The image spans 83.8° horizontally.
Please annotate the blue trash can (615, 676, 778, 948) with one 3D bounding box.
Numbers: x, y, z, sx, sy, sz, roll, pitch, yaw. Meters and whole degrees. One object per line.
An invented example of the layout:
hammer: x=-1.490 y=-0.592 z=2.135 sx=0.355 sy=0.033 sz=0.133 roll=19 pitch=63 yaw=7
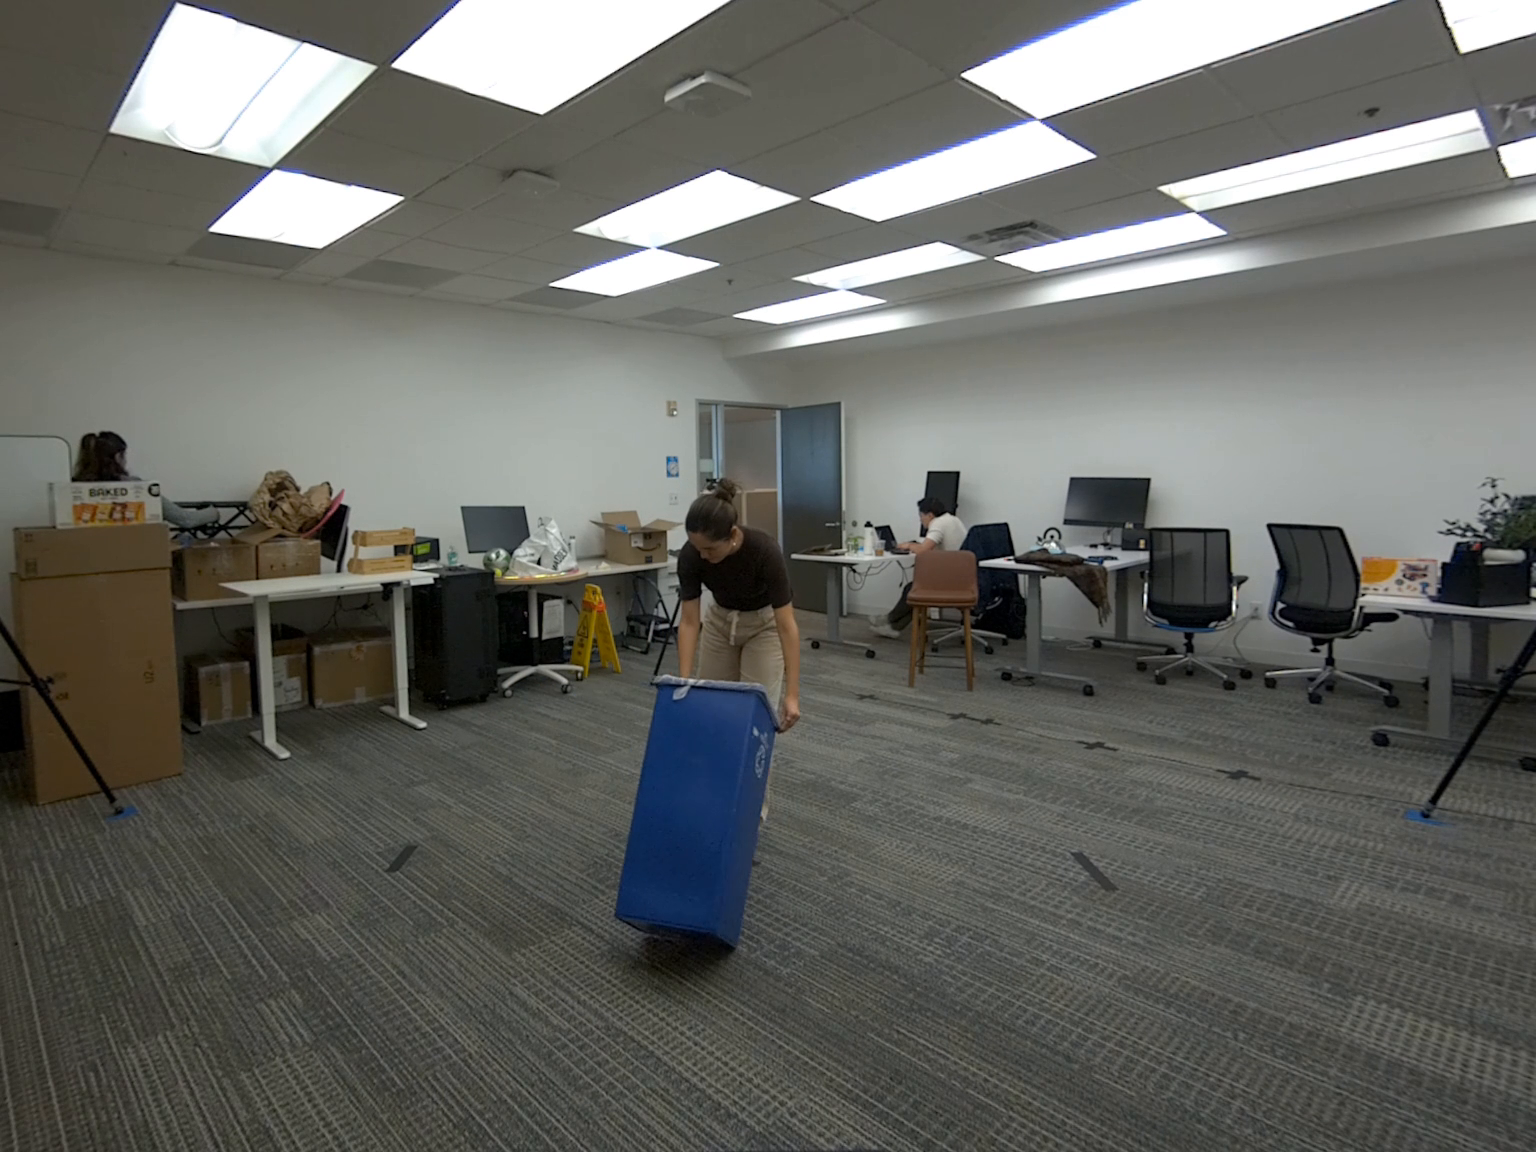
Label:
blue trash can: x=-0.224 y=0.728 z=2.664 sx=0.384 sy=0.726 sz=0.362 roll=2 pitch=-30 yaw=14
